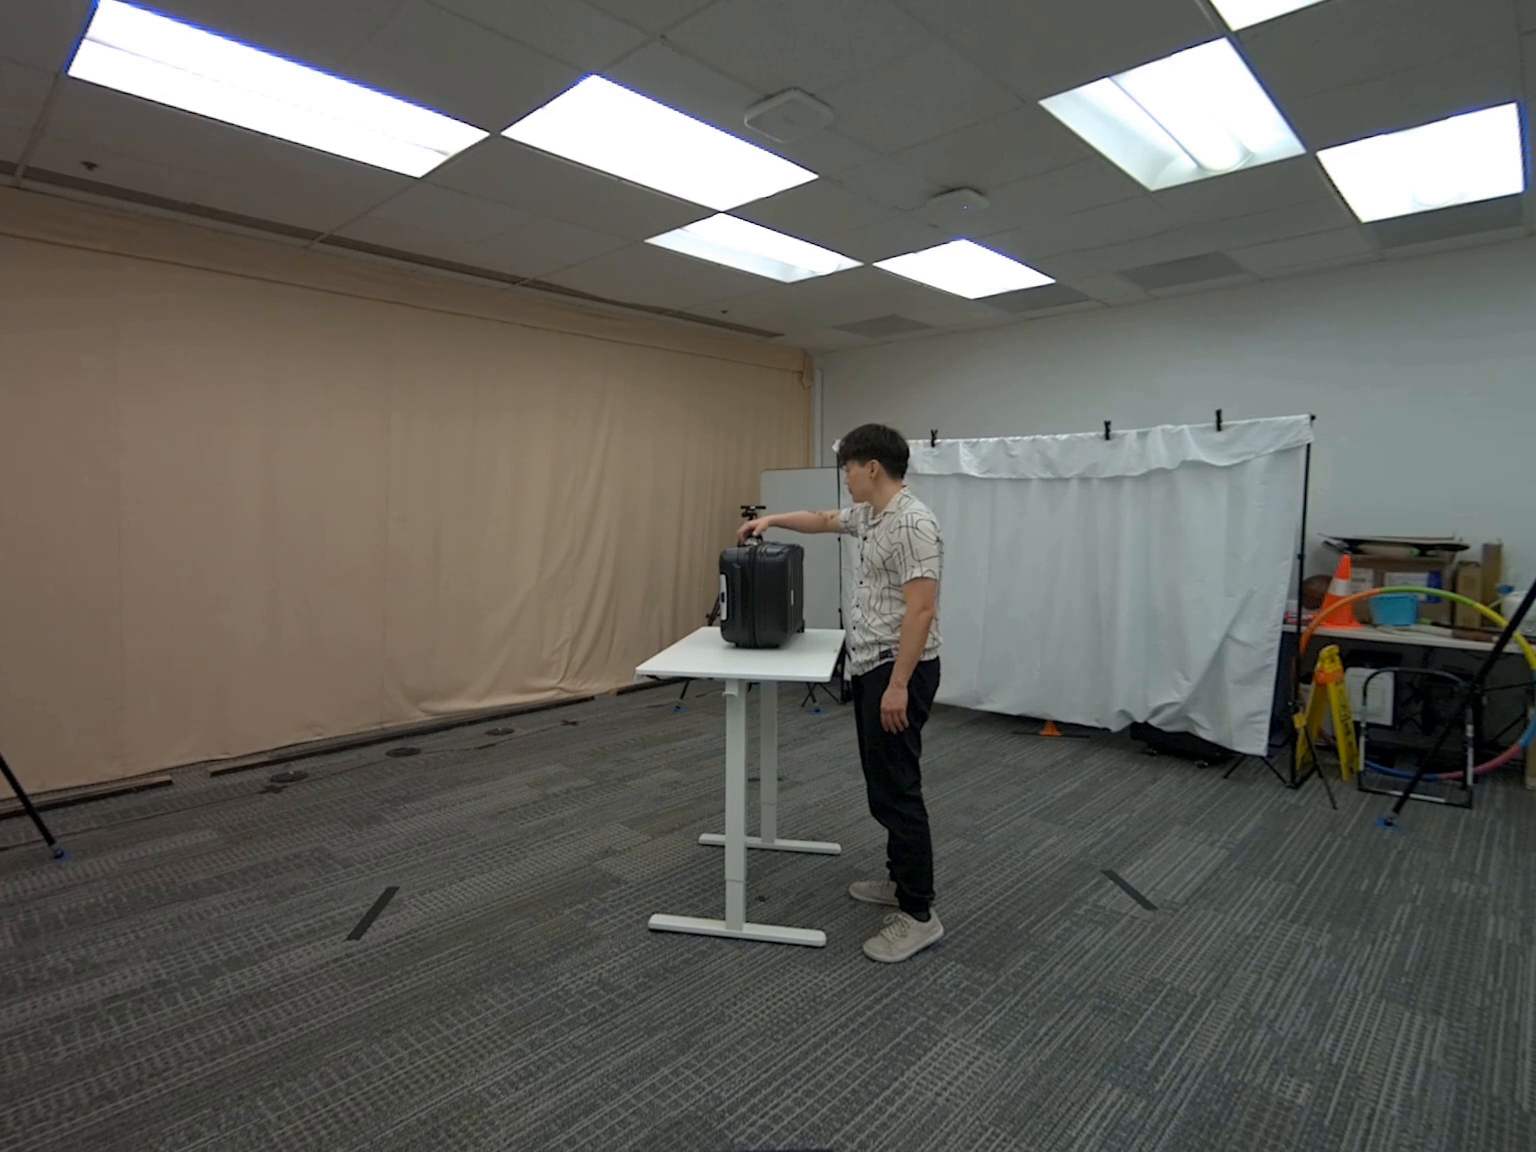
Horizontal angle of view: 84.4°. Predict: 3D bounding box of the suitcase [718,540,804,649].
[{"bbox_3d":[-0.023,0.053,3.183,0.252,0.374,0.543,1,4,11],"label":"suitcase"}]
